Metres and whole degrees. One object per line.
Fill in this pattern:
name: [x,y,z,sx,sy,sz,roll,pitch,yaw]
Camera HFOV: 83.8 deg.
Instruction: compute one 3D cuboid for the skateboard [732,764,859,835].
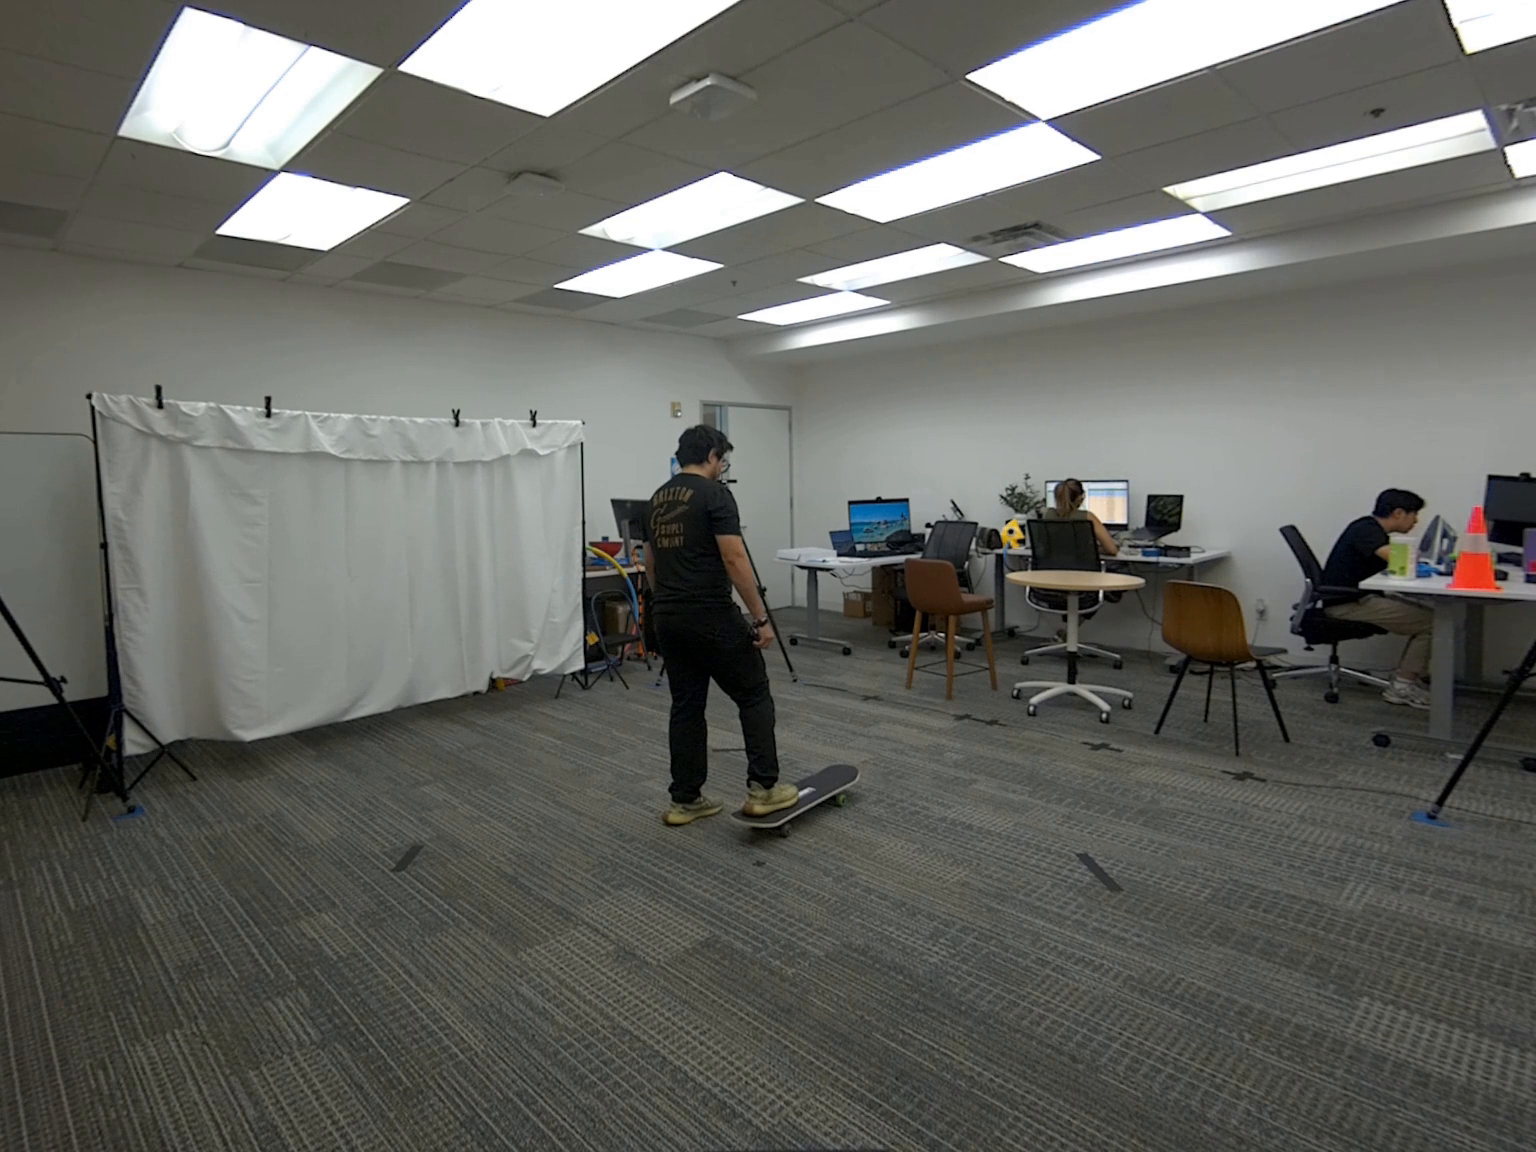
skateboard: [0.131,0.941,3.543,0.199,0.110,0.766,4,9,37]
